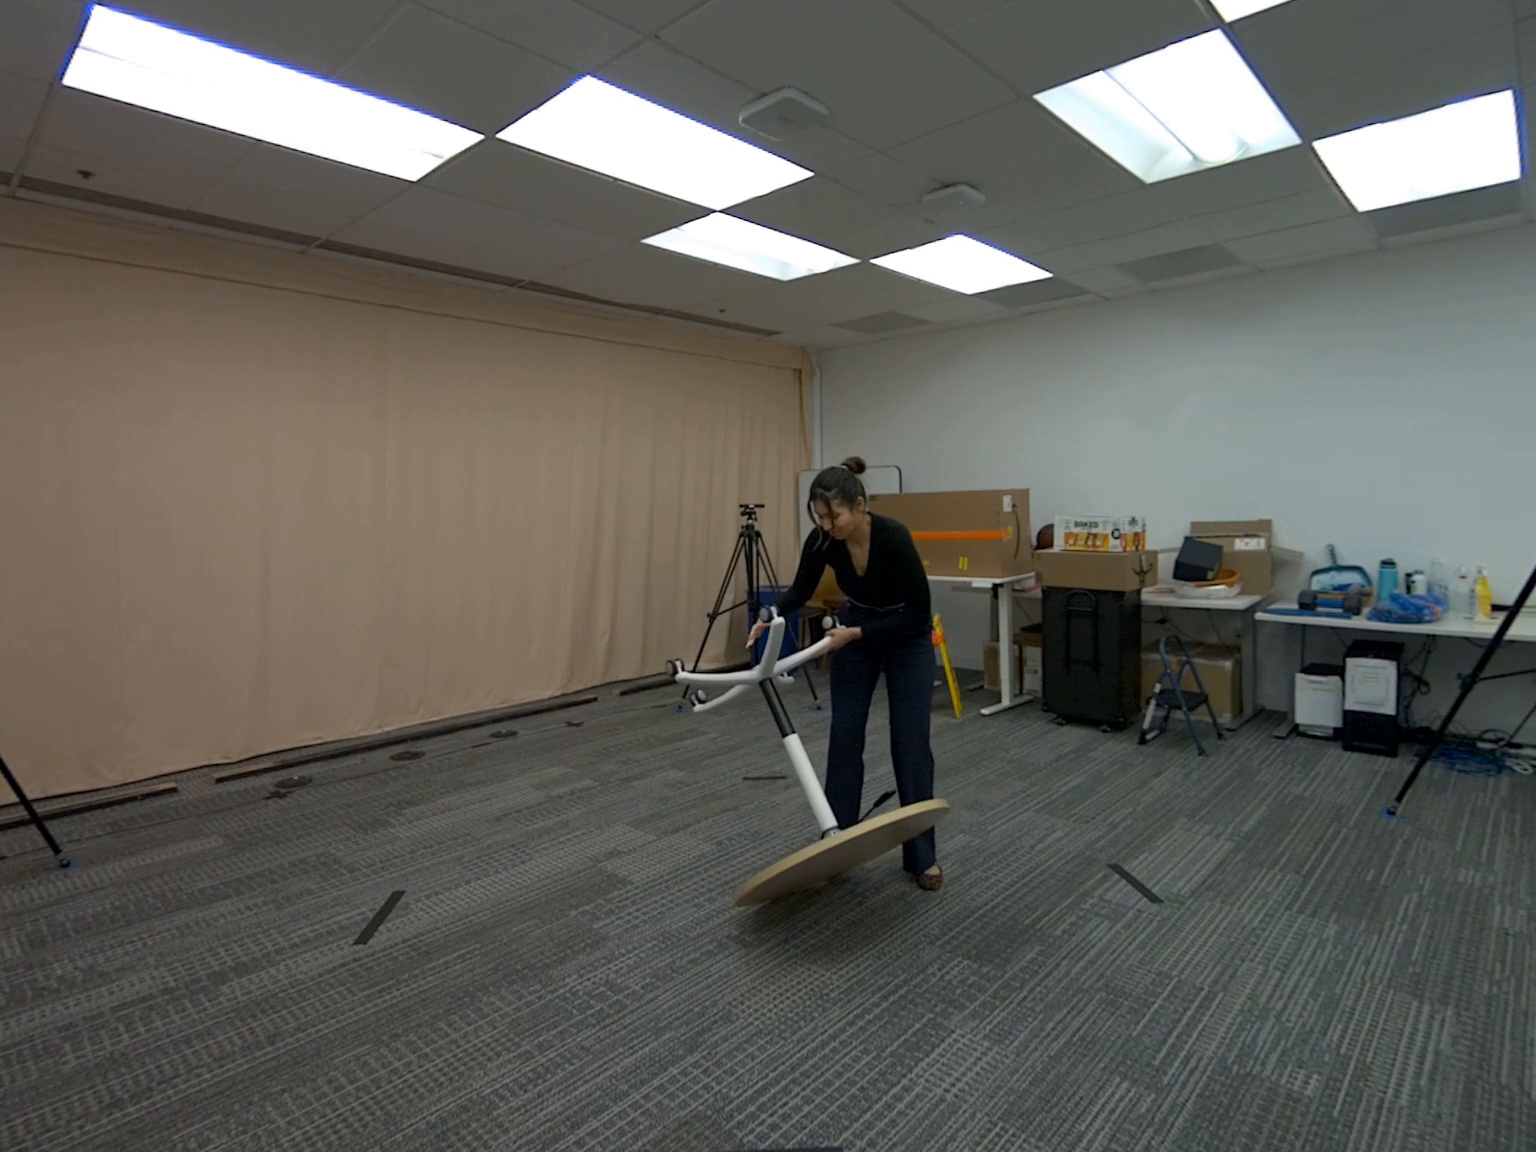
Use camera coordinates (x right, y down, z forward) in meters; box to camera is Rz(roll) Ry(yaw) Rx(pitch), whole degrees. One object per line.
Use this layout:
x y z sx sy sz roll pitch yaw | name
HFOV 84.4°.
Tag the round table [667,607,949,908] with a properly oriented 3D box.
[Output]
0.090 0.594 2.924 0.757 0.813 0.752 -19 -27 -12 | round table
